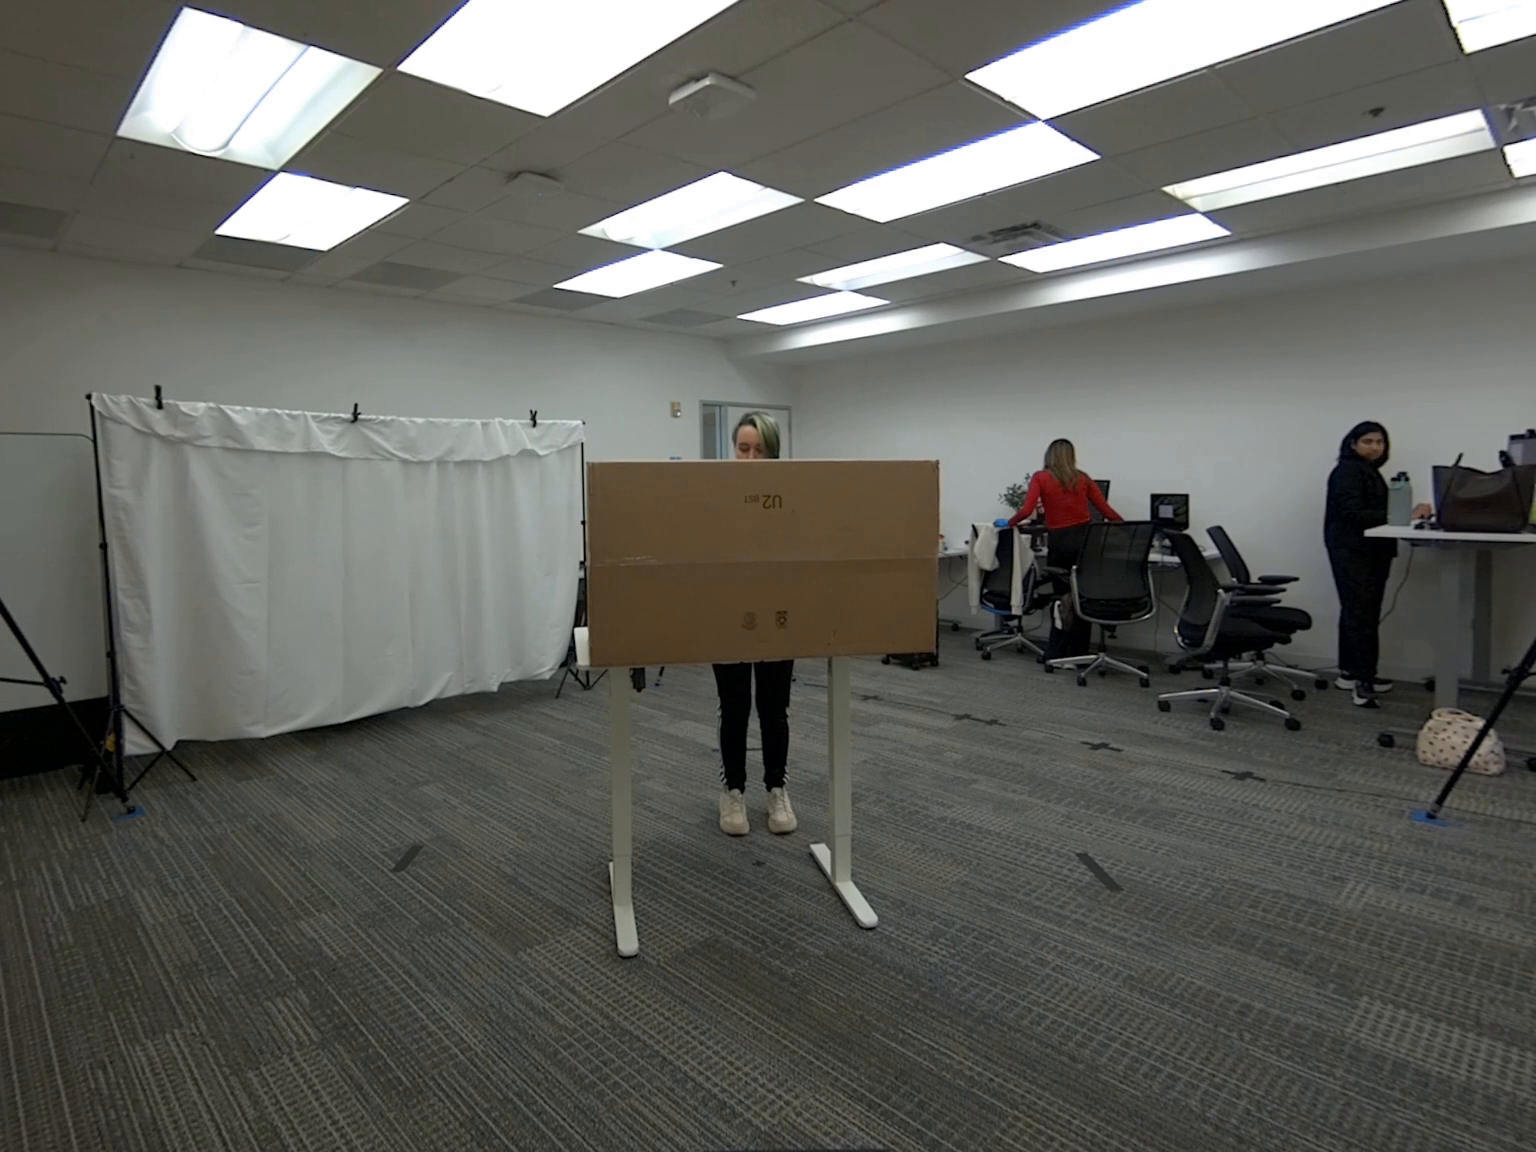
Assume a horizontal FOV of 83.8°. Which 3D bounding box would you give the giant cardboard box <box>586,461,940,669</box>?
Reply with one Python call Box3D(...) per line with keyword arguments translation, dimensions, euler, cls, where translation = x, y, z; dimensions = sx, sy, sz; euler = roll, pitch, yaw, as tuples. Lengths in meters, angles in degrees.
Box3D(translation=(-0.044, -0.069, 2.639), dimensions=(1.017, 0.581, 0.453), euler=(-1, 6, -10), cls="giant cardboard box")
